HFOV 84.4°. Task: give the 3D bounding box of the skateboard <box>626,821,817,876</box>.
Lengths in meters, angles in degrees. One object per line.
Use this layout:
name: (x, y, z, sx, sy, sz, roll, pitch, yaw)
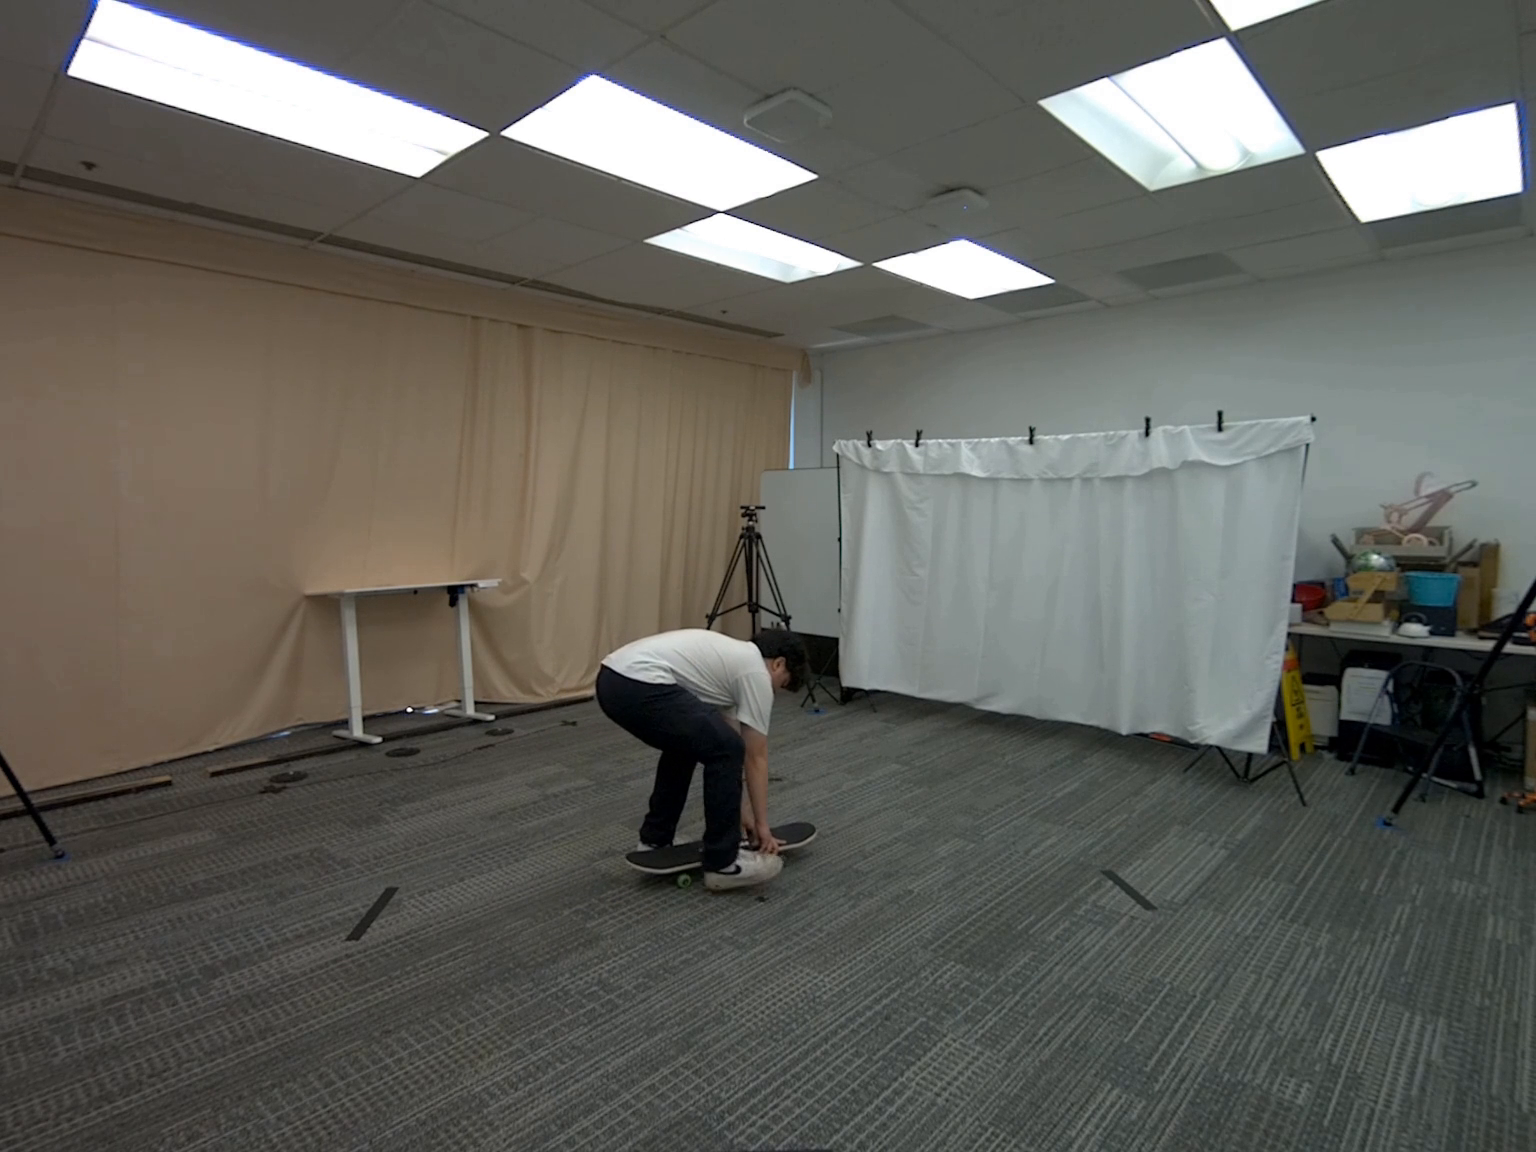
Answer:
skateboard: (-0.160, 1.073, 3.221, 0.767, 0.110, 0.198, -3, 5, -25)
